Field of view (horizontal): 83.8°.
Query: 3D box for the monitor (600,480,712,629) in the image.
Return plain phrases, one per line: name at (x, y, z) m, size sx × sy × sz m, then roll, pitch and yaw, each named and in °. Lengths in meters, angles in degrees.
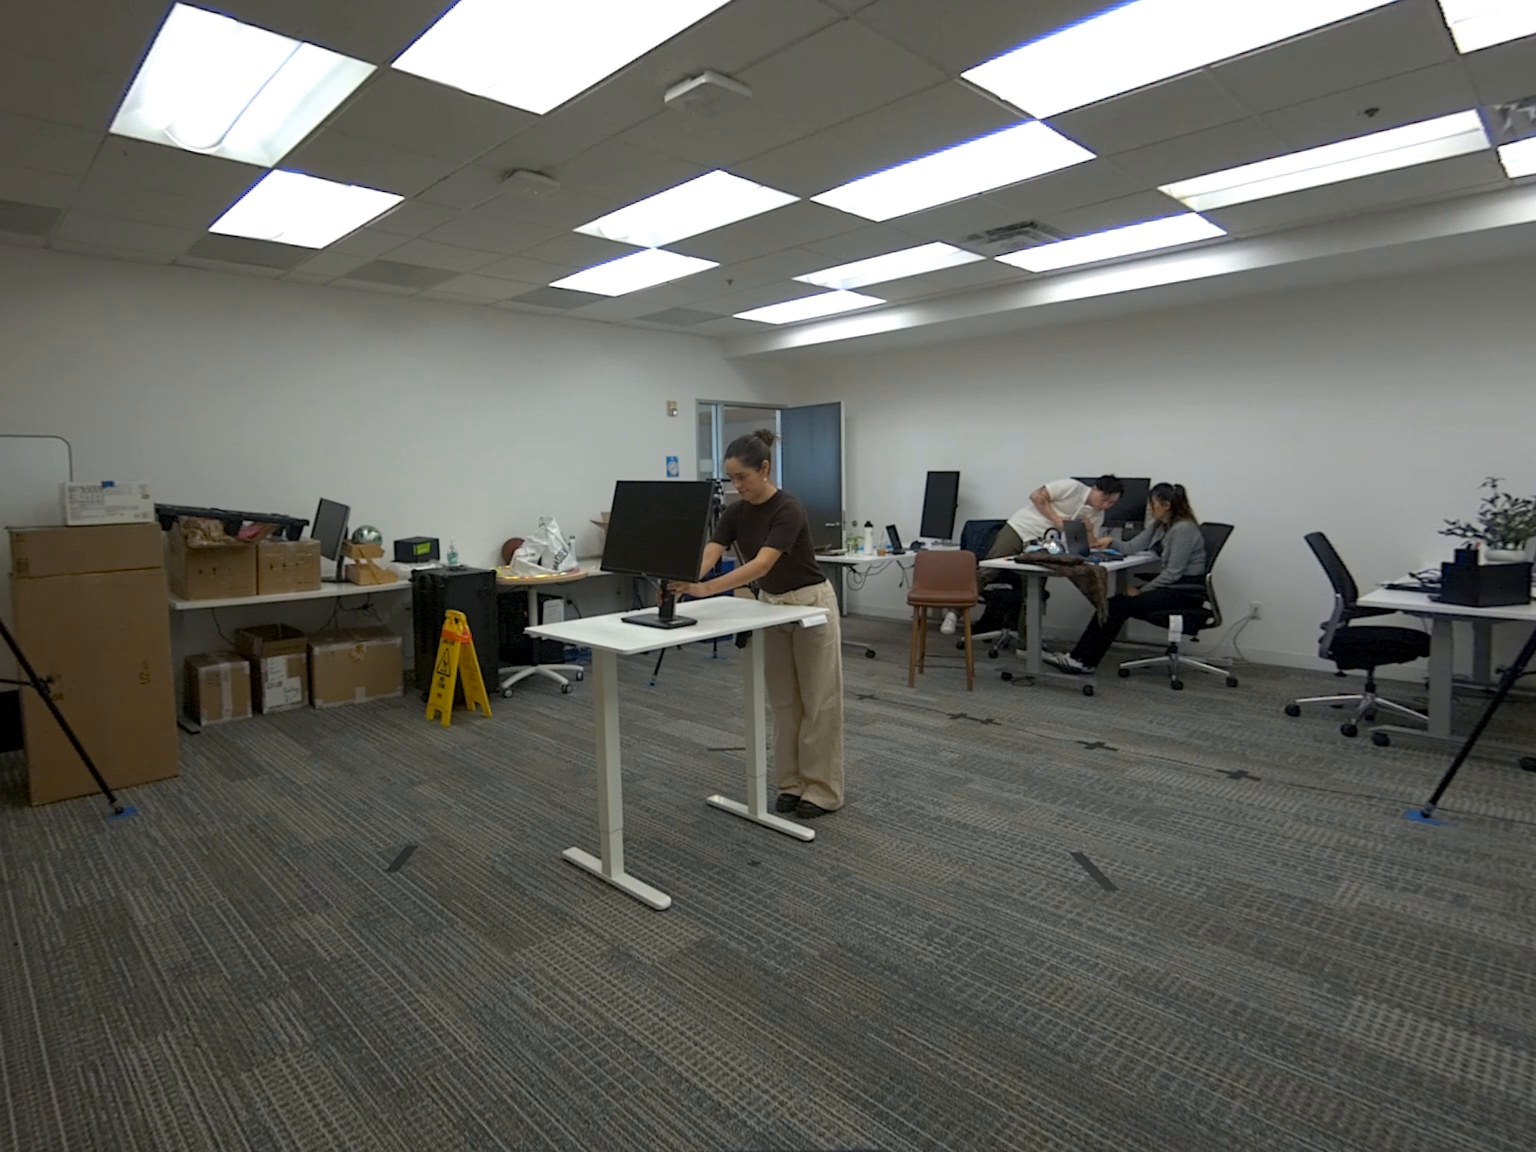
monitor at (-0.392, -0.086, 3.092) m, size 0.547 × 0.513 × 0.170 m, roll 6°, pitch 10°, yaw 43°
